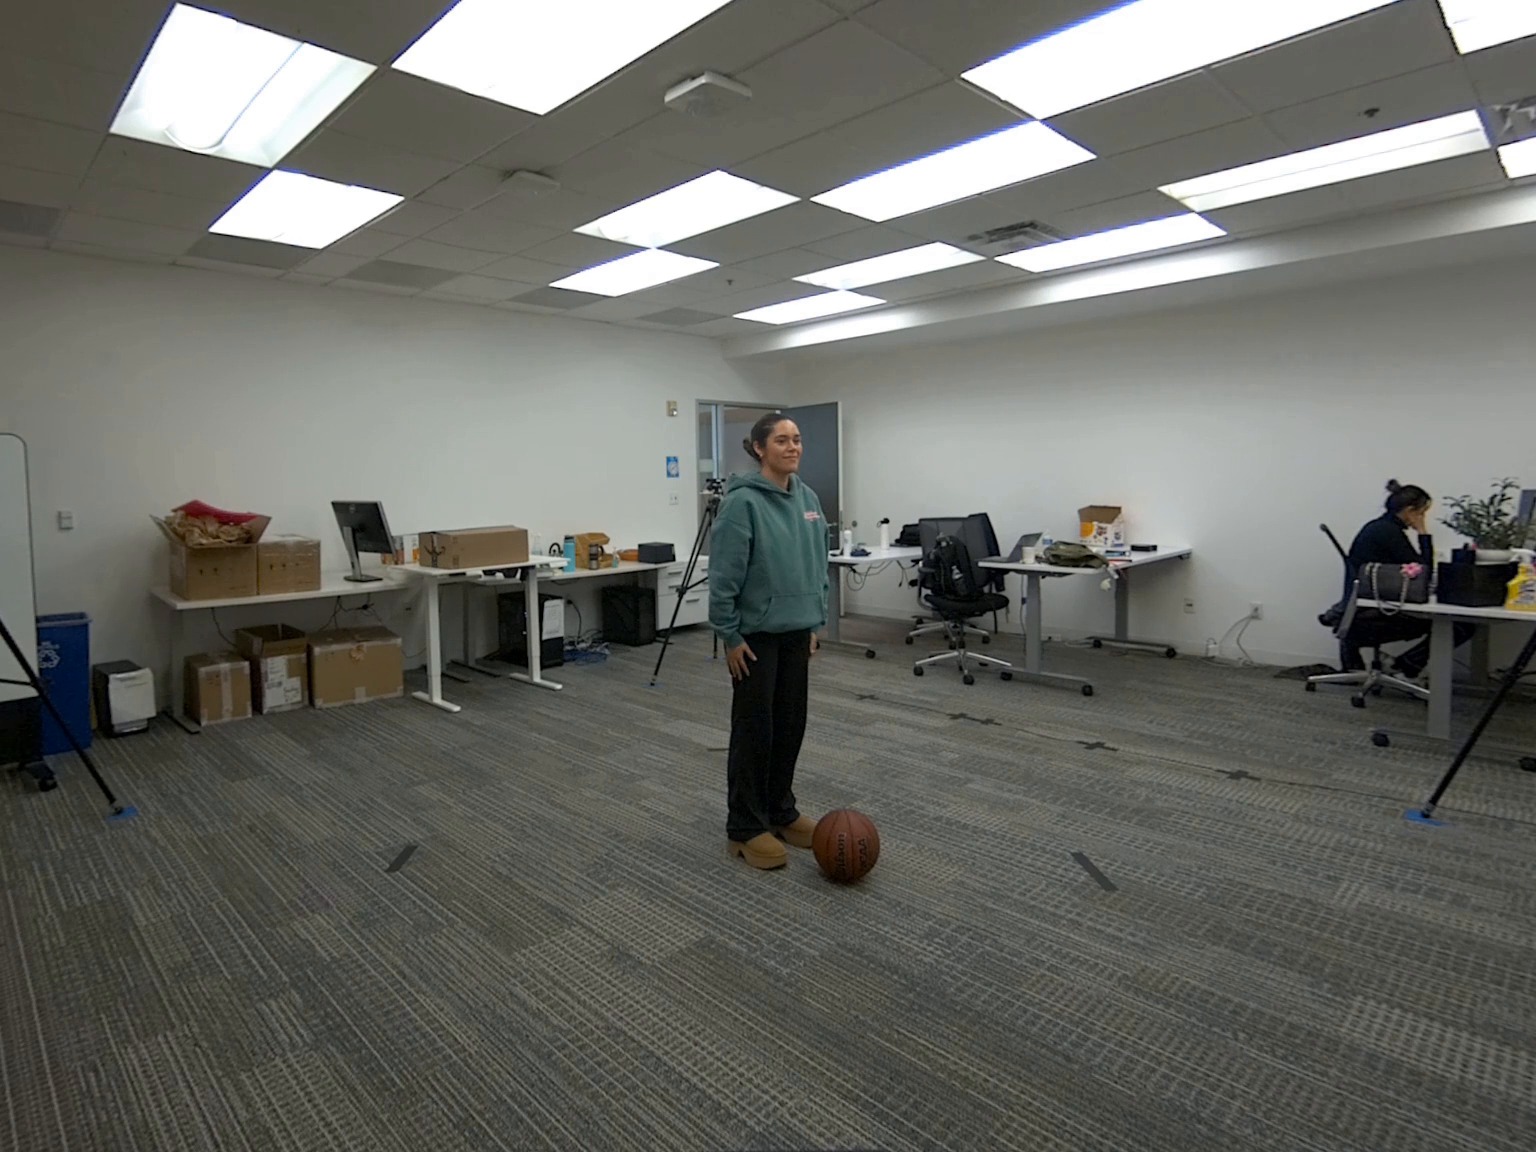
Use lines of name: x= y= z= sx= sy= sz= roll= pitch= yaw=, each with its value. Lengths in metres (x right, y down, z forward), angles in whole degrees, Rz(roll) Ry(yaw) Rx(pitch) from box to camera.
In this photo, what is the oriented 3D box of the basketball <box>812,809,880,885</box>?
basketball: x=0.279 y=0.936 z=2.982 sx=0.236 sy=0.235 sz=0.237 roll=-1 pitch=5 yaw=-2
